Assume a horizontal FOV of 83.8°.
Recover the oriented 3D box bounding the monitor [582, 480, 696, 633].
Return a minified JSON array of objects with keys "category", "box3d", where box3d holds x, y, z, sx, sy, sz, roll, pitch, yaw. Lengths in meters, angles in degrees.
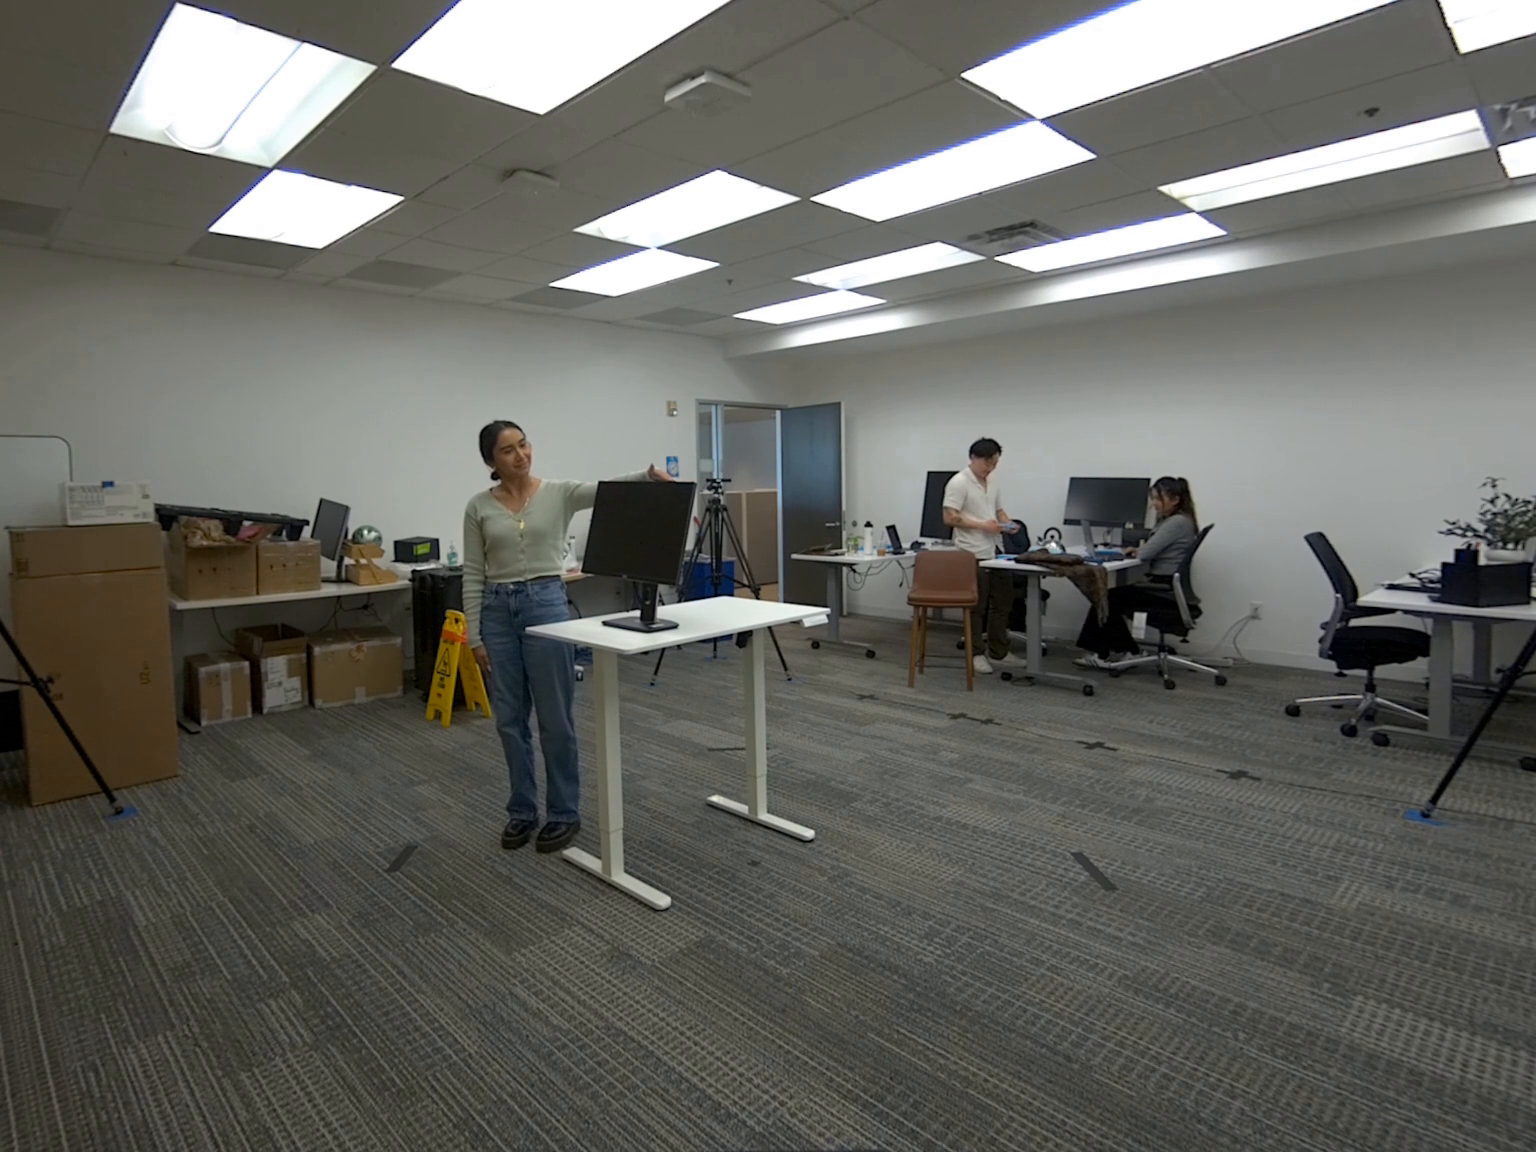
[{"category":"monitor","box3d":[-0.446,-0.072,3.031,0.555,0.521,0.182,4,4,42]}]
